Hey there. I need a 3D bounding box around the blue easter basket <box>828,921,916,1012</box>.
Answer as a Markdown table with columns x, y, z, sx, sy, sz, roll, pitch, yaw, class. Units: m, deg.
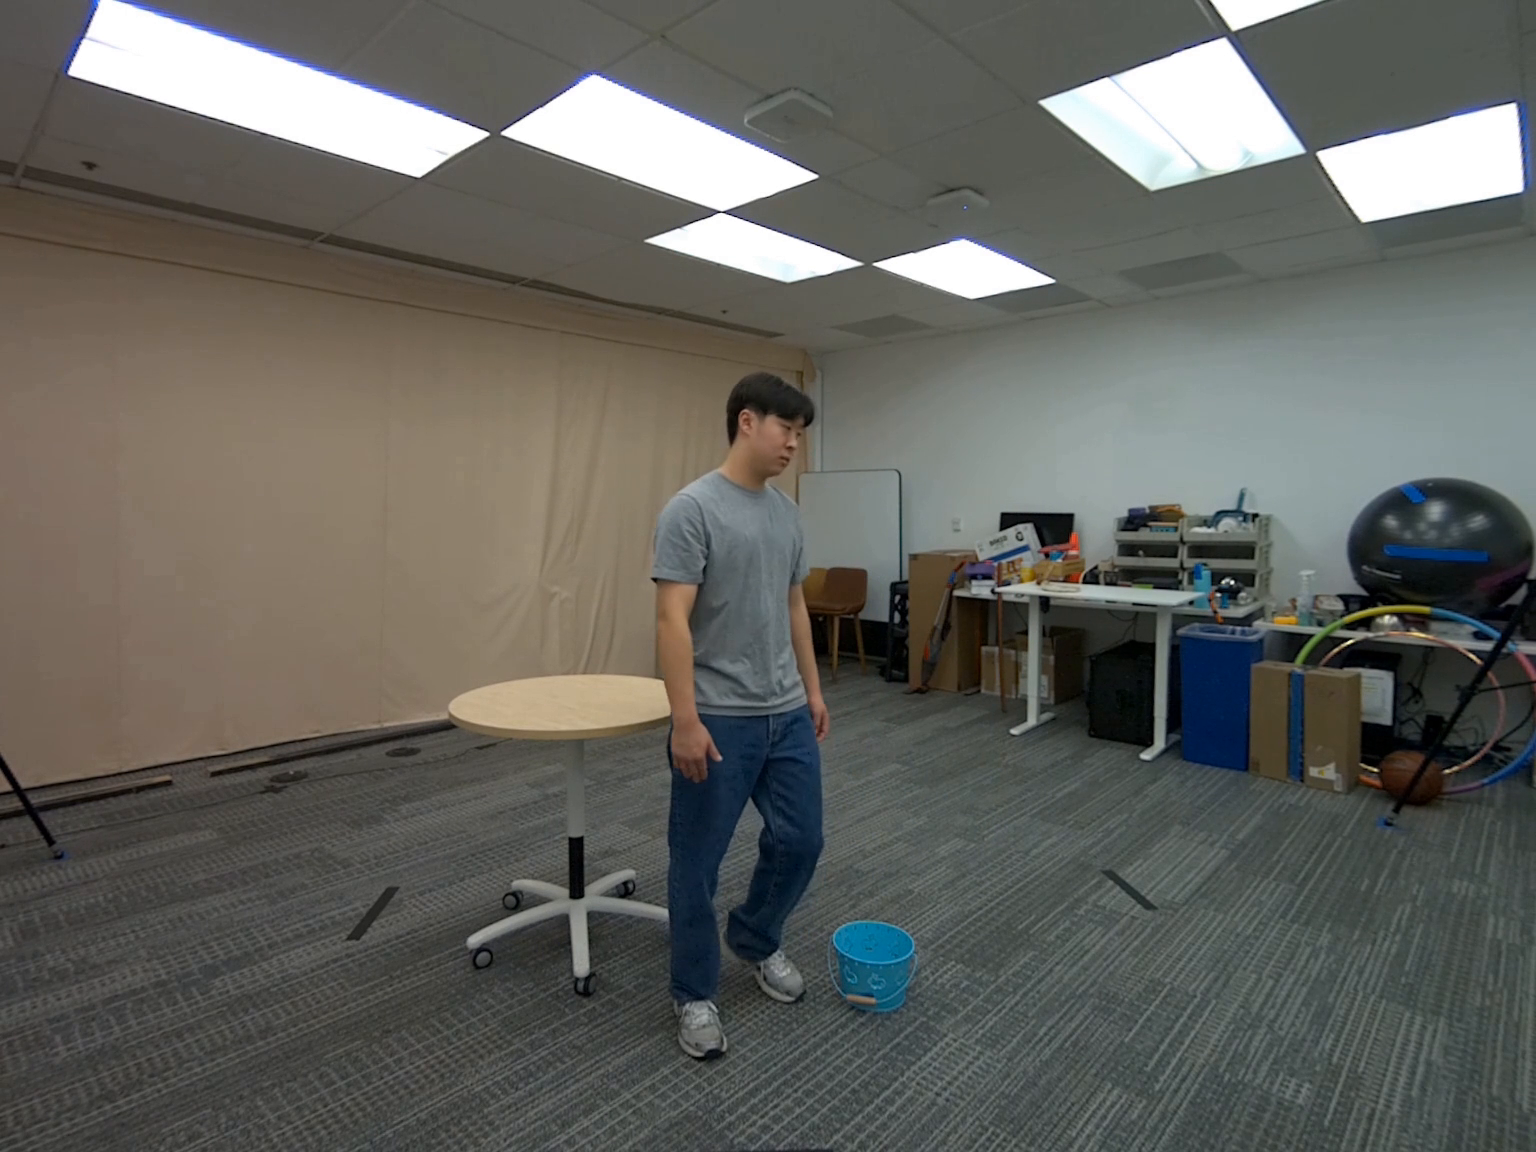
| x | y | z | sx | sy | sz | roll | pitch | yaw | class |
| --- | --- | --- | --- | --- | --- | --- | --- | --- | --- |
| 0.297 | 1.116 | 2.393 | 0.243 | 0.155 | 0.244 | 1 | 3 | -2 | blue easter basket |
